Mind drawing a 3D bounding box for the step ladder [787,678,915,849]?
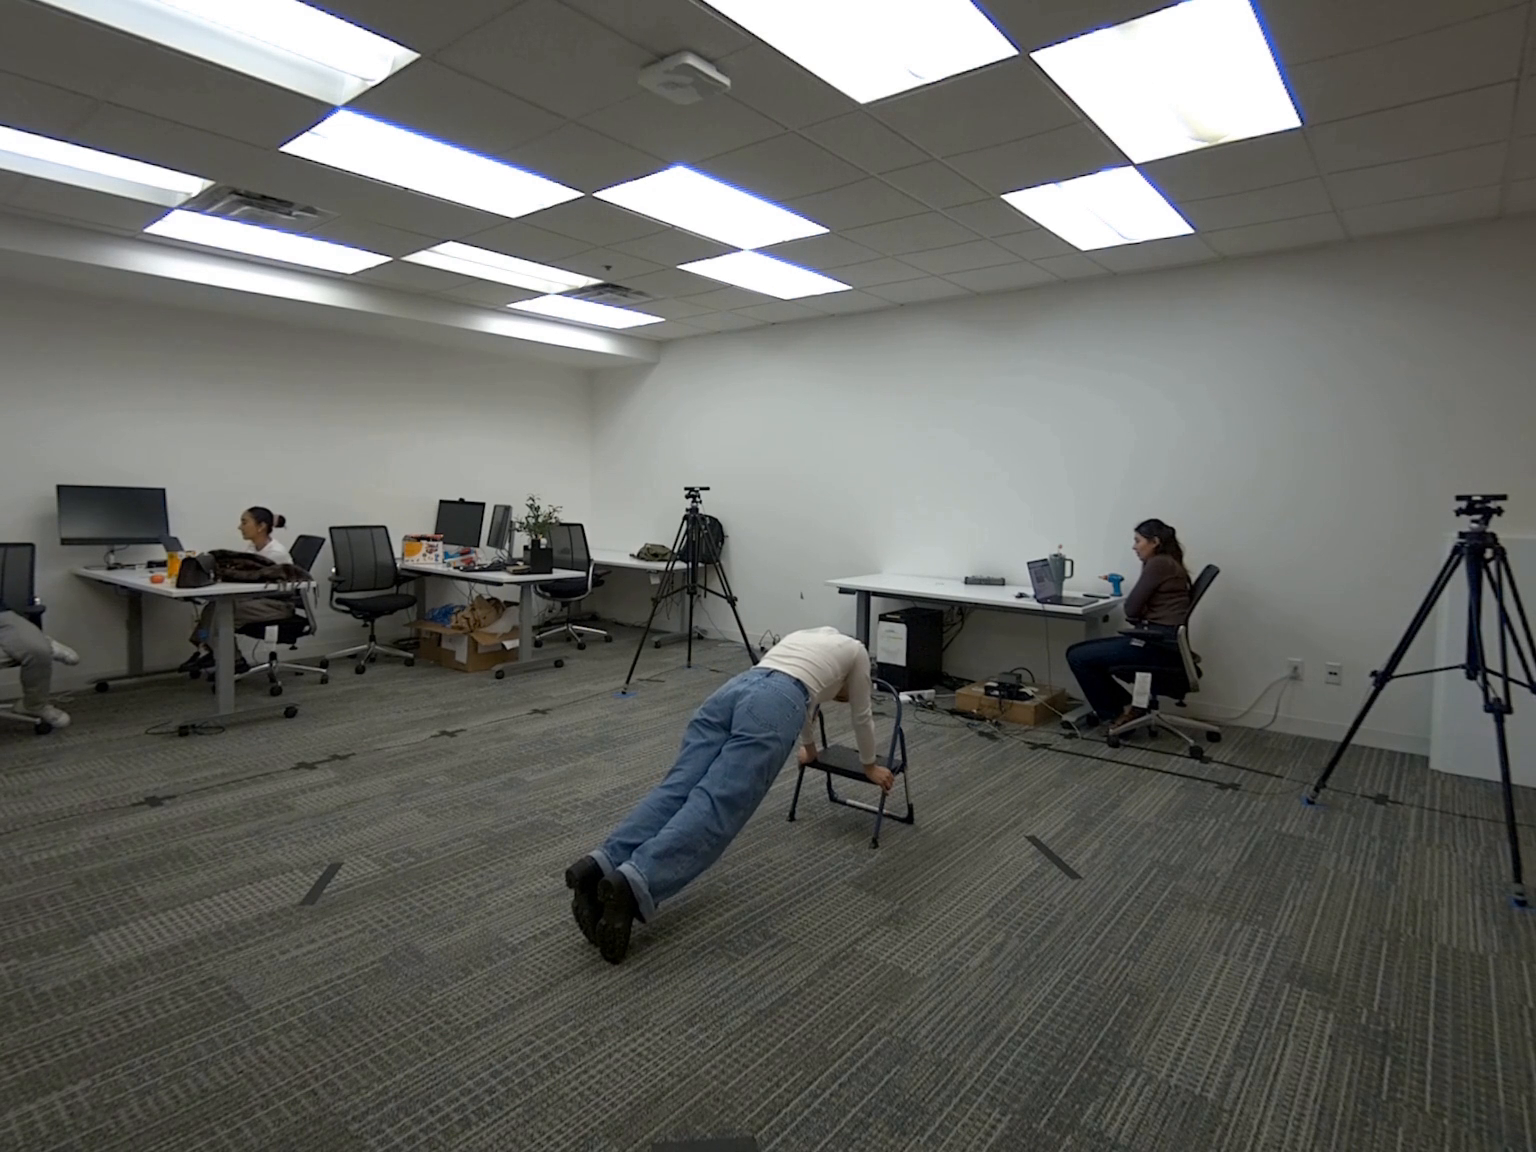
[{"bbox_3d":[0.352,0.729,3.562,0.445,0.604,0.339,4,4,38],"label":"step ladder"}]
